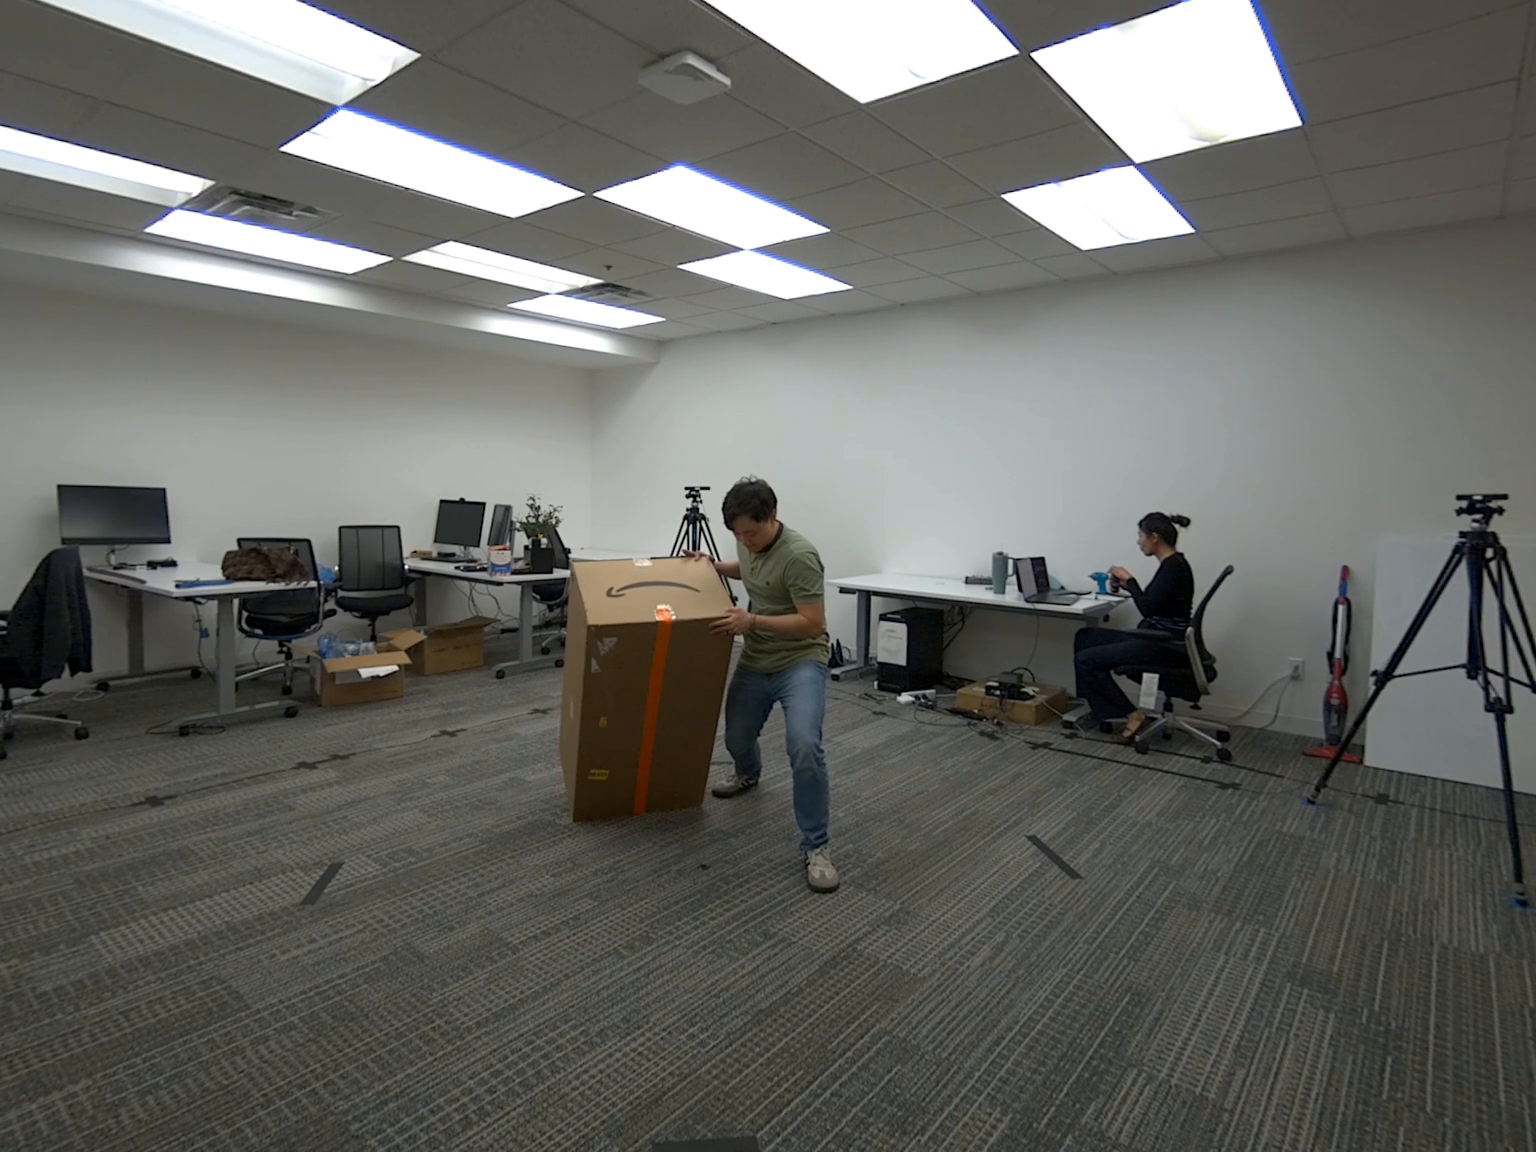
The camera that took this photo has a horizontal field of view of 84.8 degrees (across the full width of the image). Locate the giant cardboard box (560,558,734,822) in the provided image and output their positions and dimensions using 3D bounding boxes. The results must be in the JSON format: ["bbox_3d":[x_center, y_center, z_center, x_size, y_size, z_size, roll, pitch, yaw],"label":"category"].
[{"bbox_3d":[-0.547,0.473,3.539,0.567,1.005,0.443,-2,32,-20],"label":"giant cardboard box"}]
